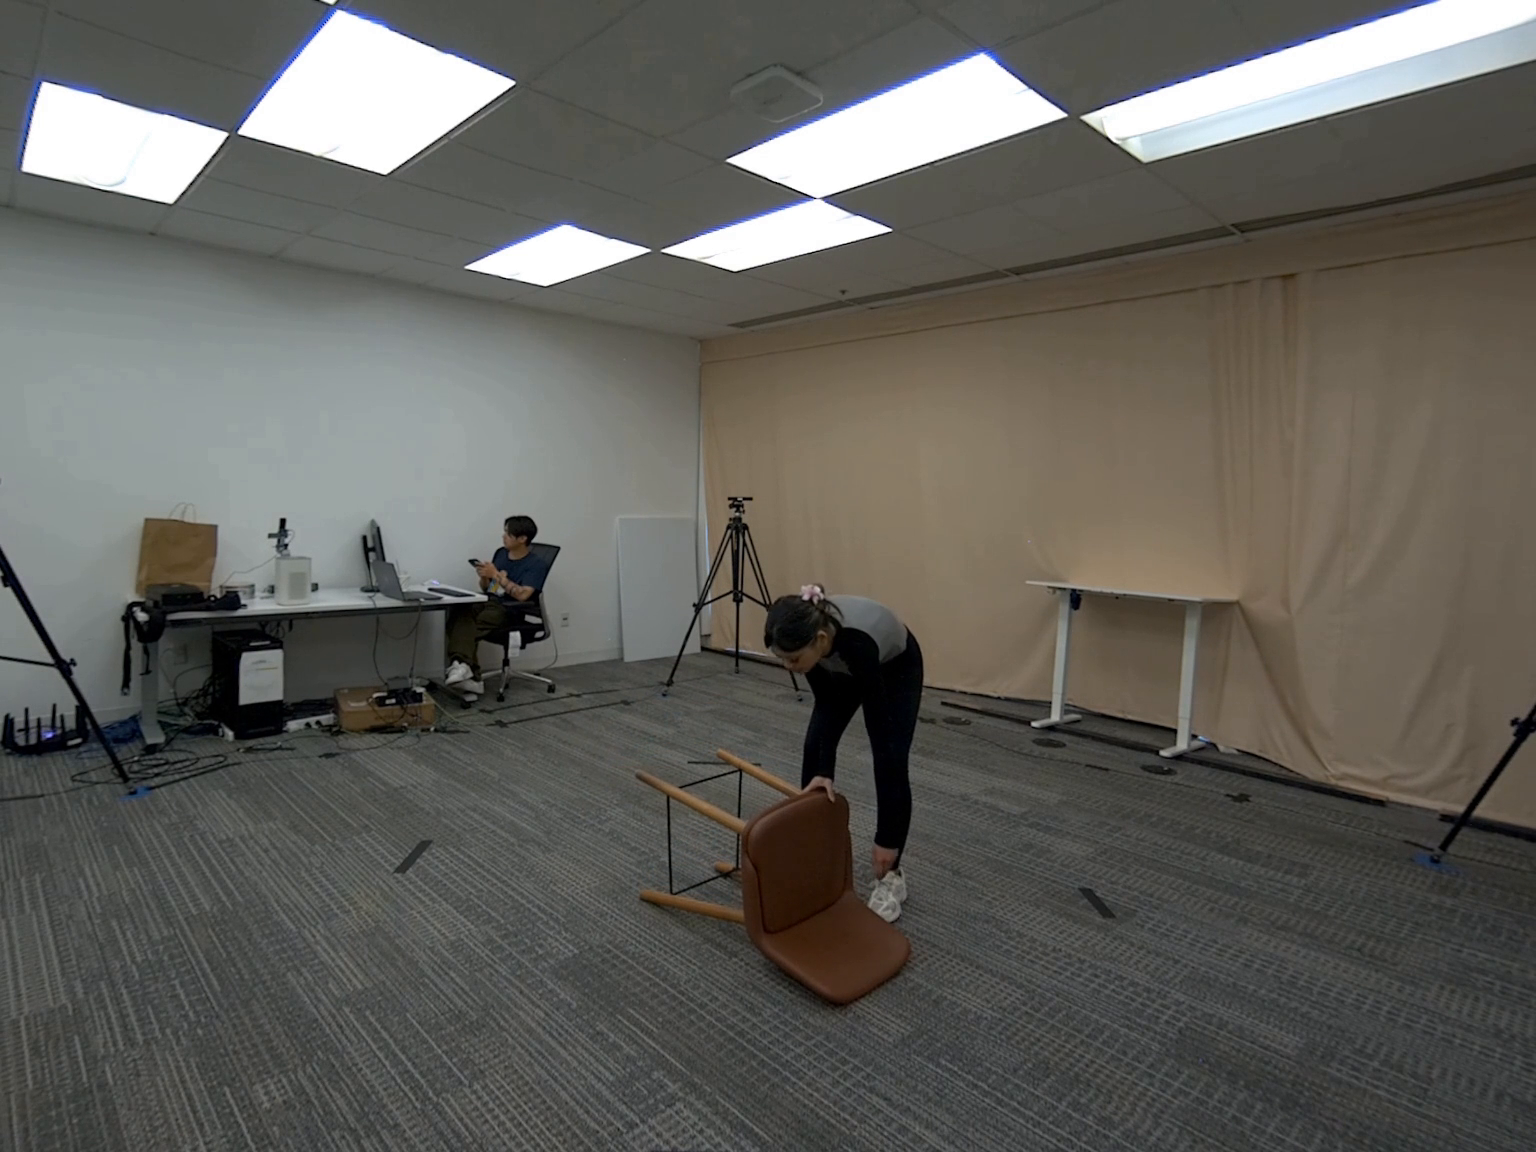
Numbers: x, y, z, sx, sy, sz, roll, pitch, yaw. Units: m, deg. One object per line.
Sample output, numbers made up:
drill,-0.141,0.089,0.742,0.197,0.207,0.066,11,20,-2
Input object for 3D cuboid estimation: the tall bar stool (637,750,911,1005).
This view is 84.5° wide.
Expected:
tall bar stool,-0.010,0.919,2.709,0.446,0.466,0.913,-2,6,-44
